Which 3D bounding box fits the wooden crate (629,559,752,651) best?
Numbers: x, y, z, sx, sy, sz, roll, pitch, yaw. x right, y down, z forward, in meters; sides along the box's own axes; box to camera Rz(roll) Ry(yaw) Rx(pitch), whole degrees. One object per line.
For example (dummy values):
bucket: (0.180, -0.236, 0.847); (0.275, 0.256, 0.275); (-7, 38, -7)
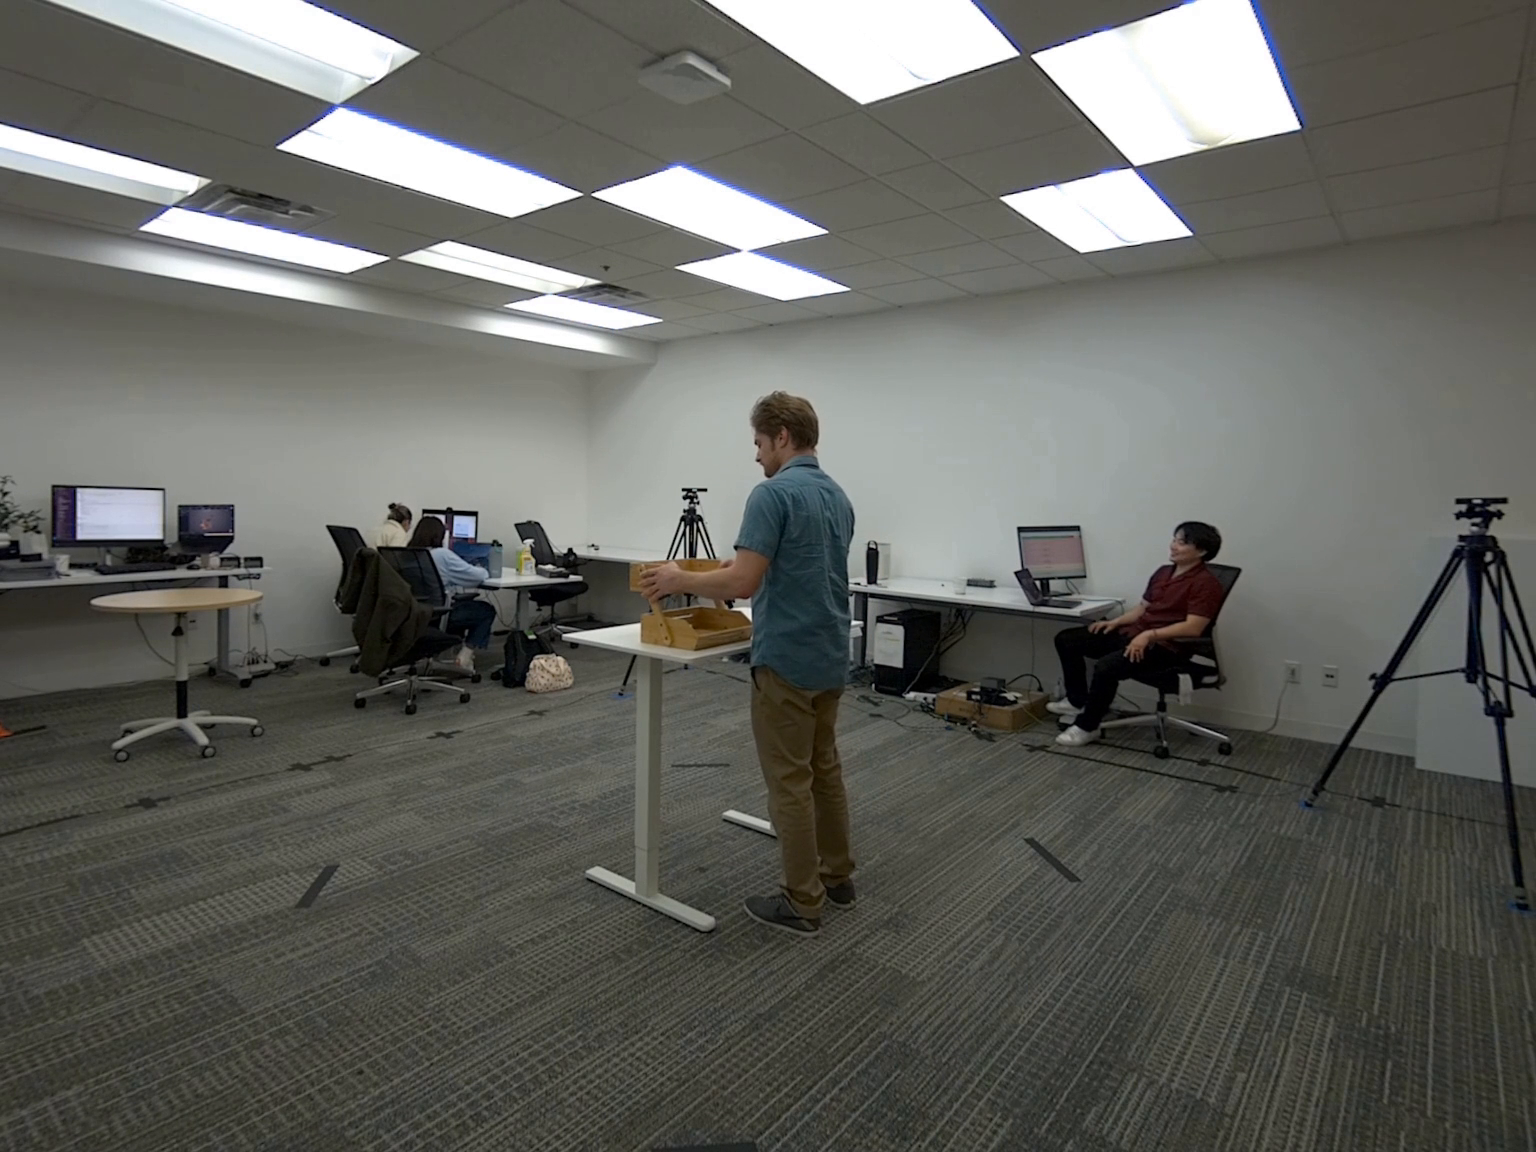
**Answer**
wooden crate: (-0.259, 0.082, 2.844); (0.312, 0.272, 0.315); (3, 5, 37)
